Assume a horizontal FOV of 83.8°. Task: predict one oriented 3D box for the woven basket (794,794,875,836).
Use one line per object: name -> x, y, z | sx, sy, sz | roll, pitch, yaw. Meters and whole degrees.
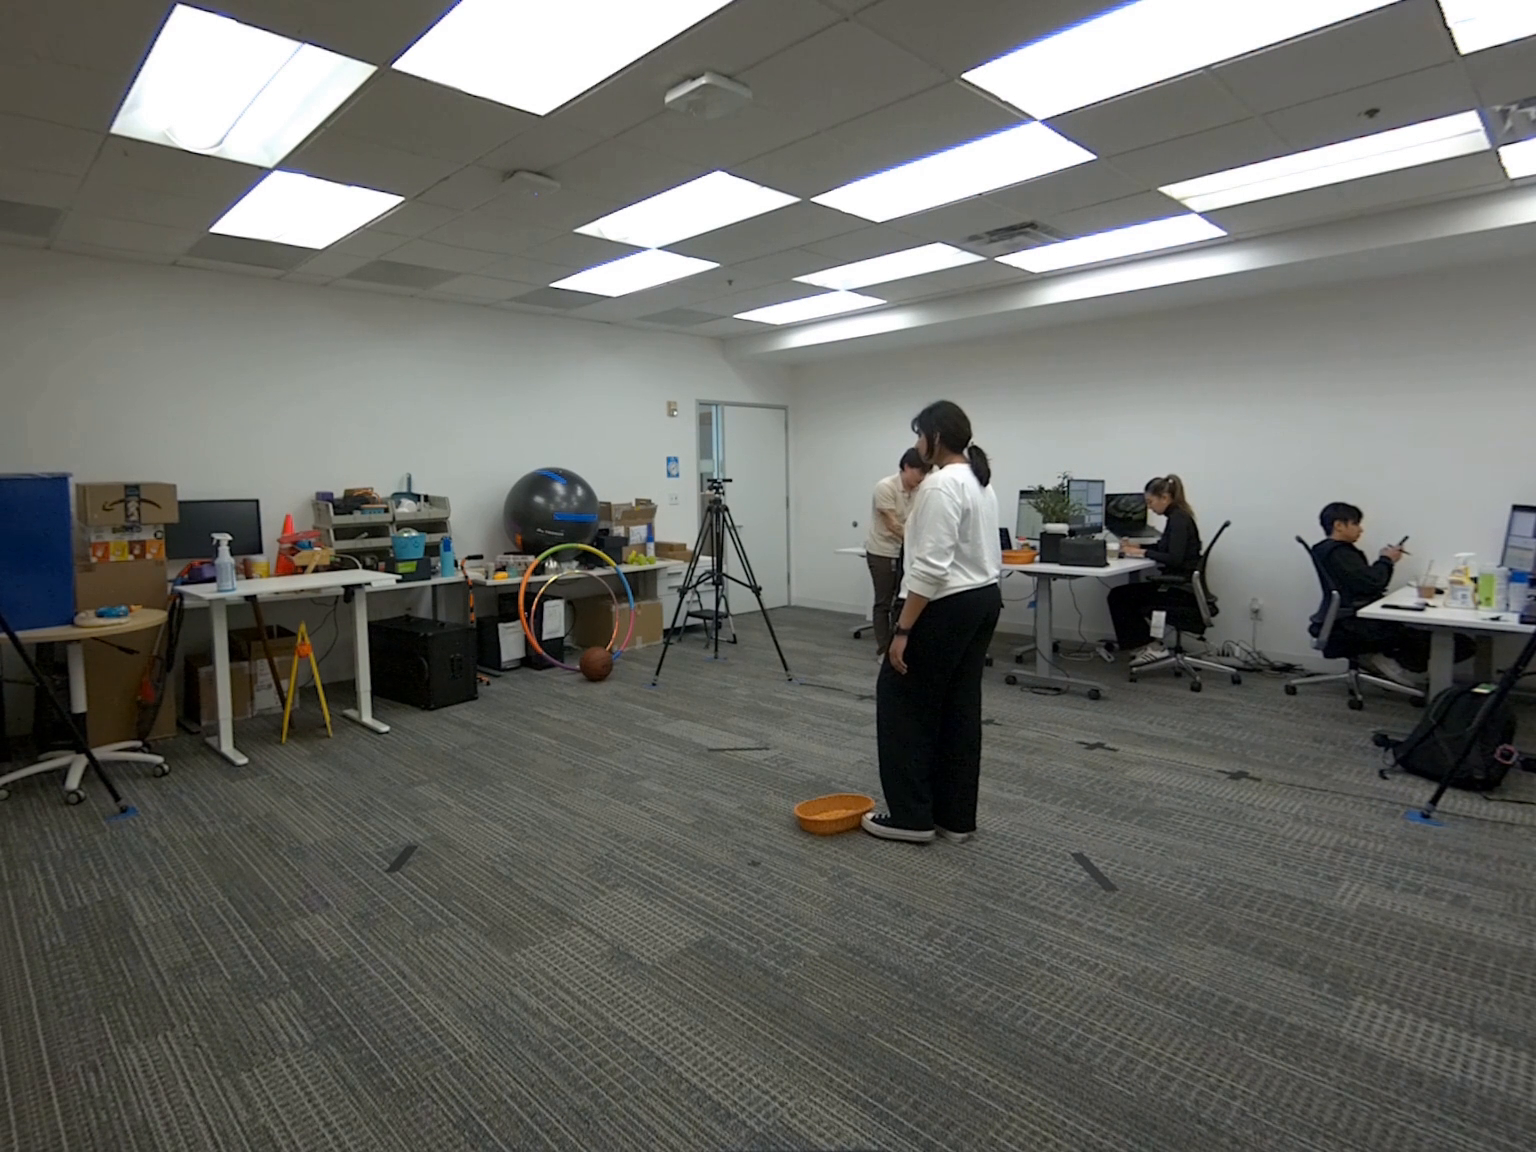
woven basket -> 0.267, 0.959, 3.456 | 0.343, 0.073, 0.258 | -6, 5, -28
